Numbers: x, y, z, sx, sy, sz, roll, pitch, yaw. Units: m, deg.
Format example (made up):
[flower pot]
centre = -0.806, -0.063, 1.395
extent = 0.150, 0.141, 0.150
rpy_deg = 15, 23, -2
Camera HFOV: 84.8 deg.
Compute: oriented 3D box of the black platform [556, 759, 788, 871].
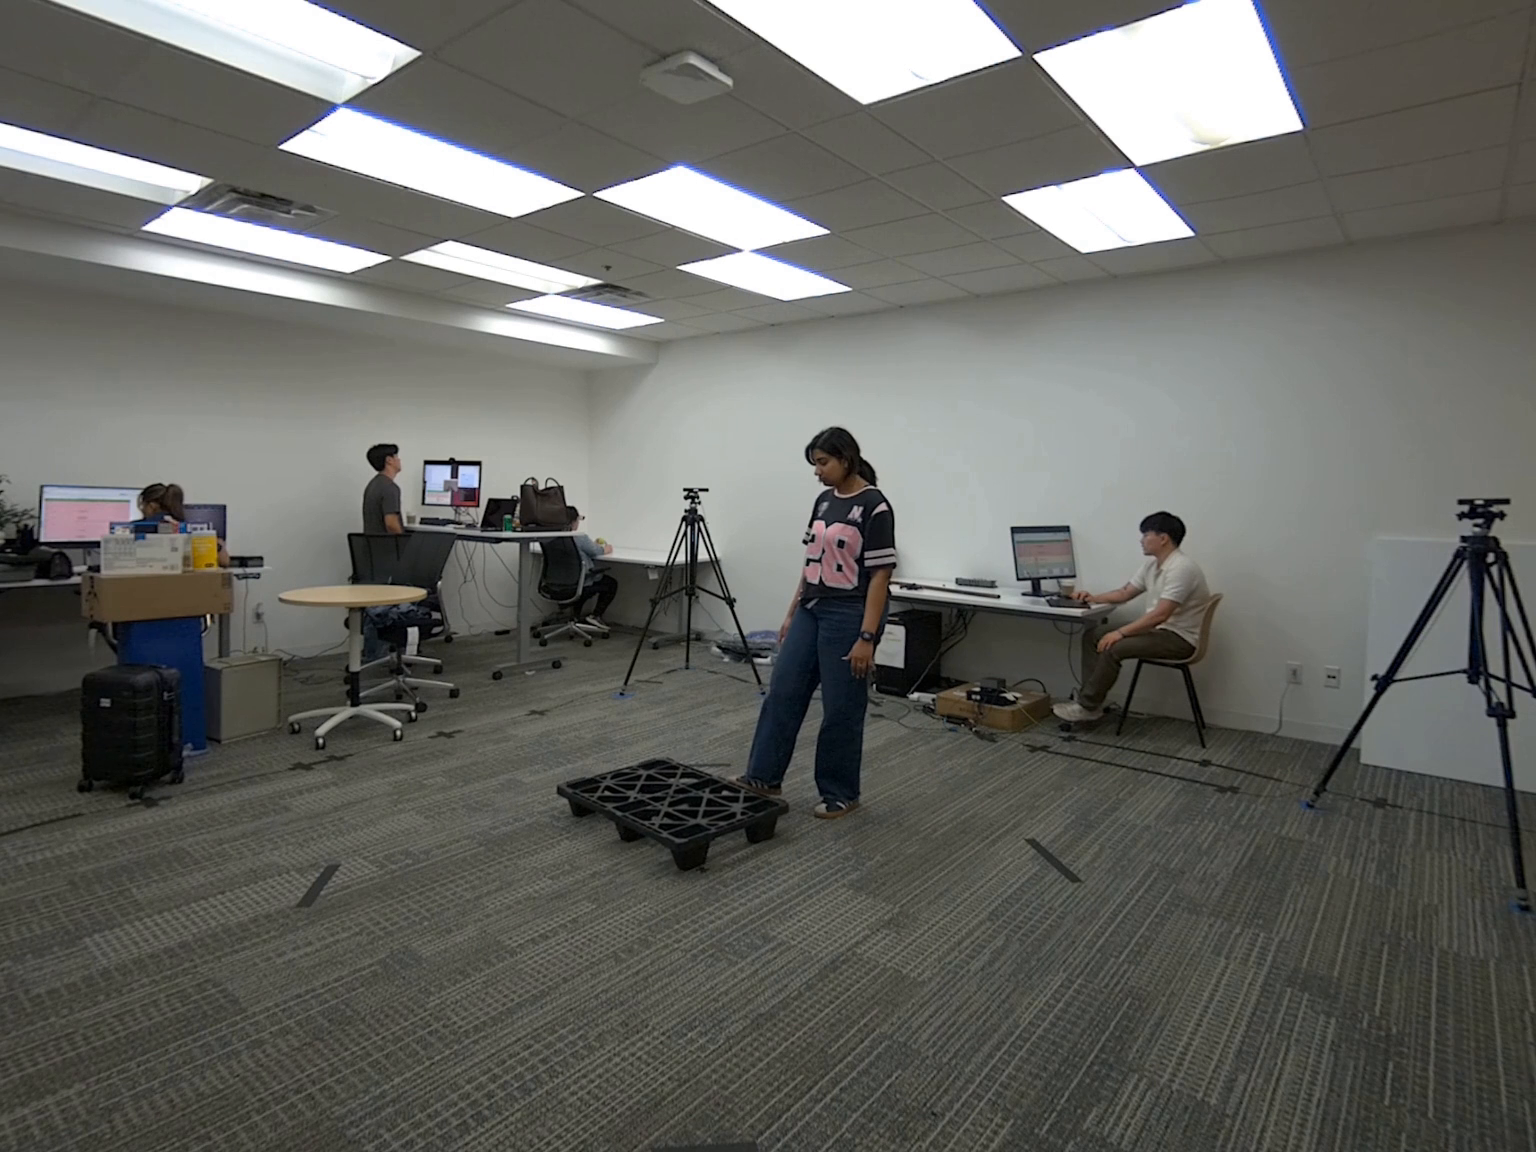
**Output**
[black platform]
centre = -0.418, 0.961, 3.498
extent = 0.833, 0.143, 0.587
rpy_deg = 6, 8, 45
